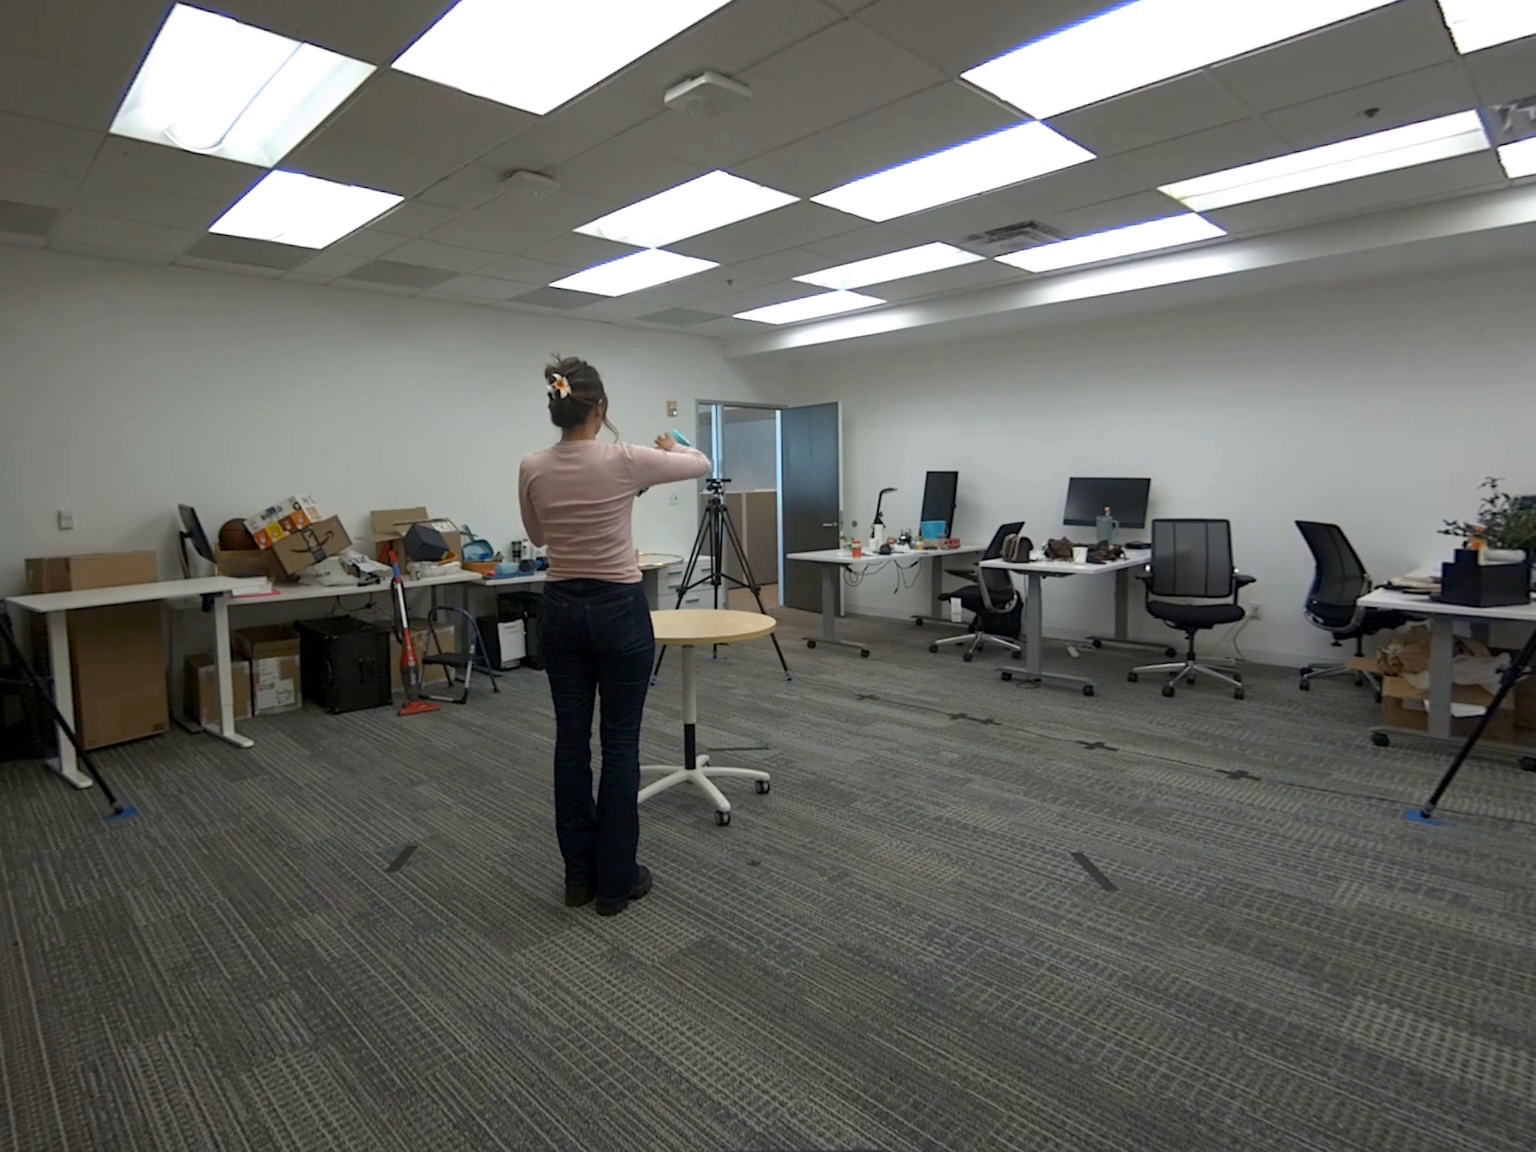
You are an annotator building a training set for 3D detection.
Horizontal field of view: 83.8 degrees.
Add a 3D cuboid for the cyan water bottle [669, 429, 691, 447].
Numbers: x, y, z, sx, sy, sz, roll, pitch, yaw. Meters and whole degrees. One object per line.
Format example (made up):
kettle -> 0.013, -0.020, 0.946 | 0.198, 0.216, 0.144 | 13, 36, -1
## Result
cyan water bottle -> -0.413, -0.420, 3.227 | 0.091, 0.283, 0.093 | 43, 10, -12
